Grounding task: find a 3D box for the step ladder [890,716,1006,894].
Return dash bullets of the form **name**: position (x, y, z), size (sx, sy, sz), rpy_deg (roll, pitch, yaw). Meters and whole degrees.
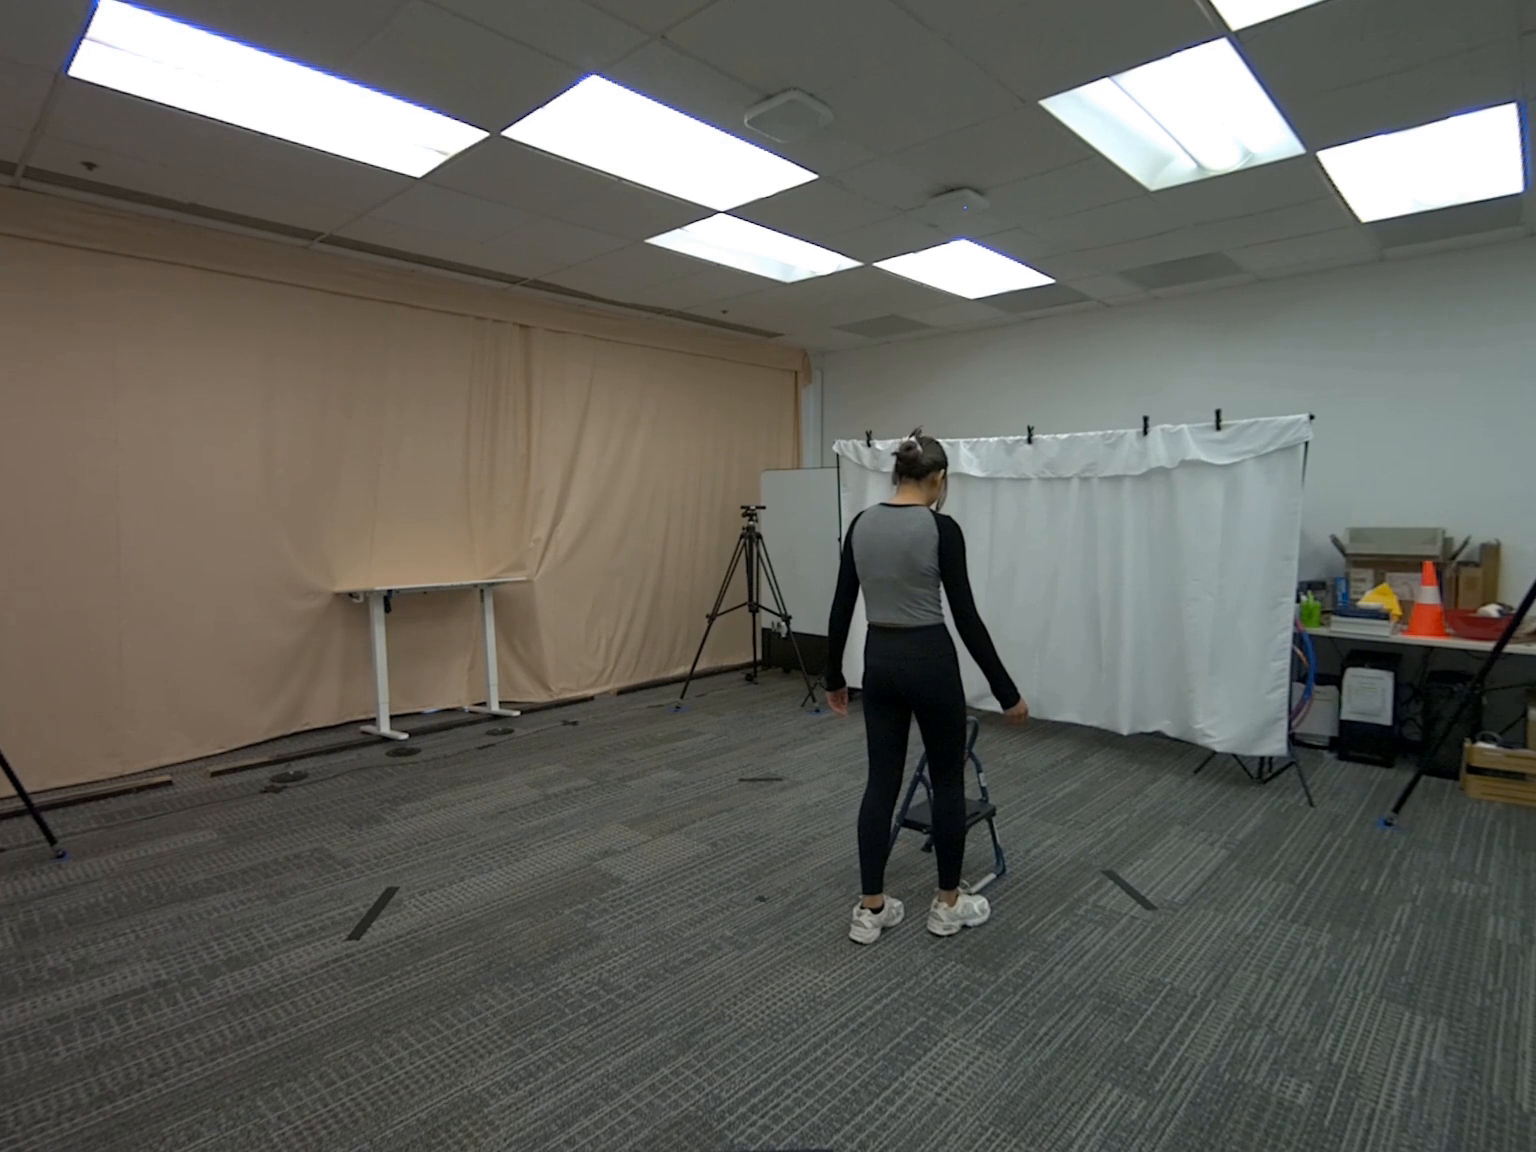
- **step ladder**: position (0.648, 0.827, 3.139), size (0.361, 0.605, 0.418), rpy_deg (3, 4, 39)
